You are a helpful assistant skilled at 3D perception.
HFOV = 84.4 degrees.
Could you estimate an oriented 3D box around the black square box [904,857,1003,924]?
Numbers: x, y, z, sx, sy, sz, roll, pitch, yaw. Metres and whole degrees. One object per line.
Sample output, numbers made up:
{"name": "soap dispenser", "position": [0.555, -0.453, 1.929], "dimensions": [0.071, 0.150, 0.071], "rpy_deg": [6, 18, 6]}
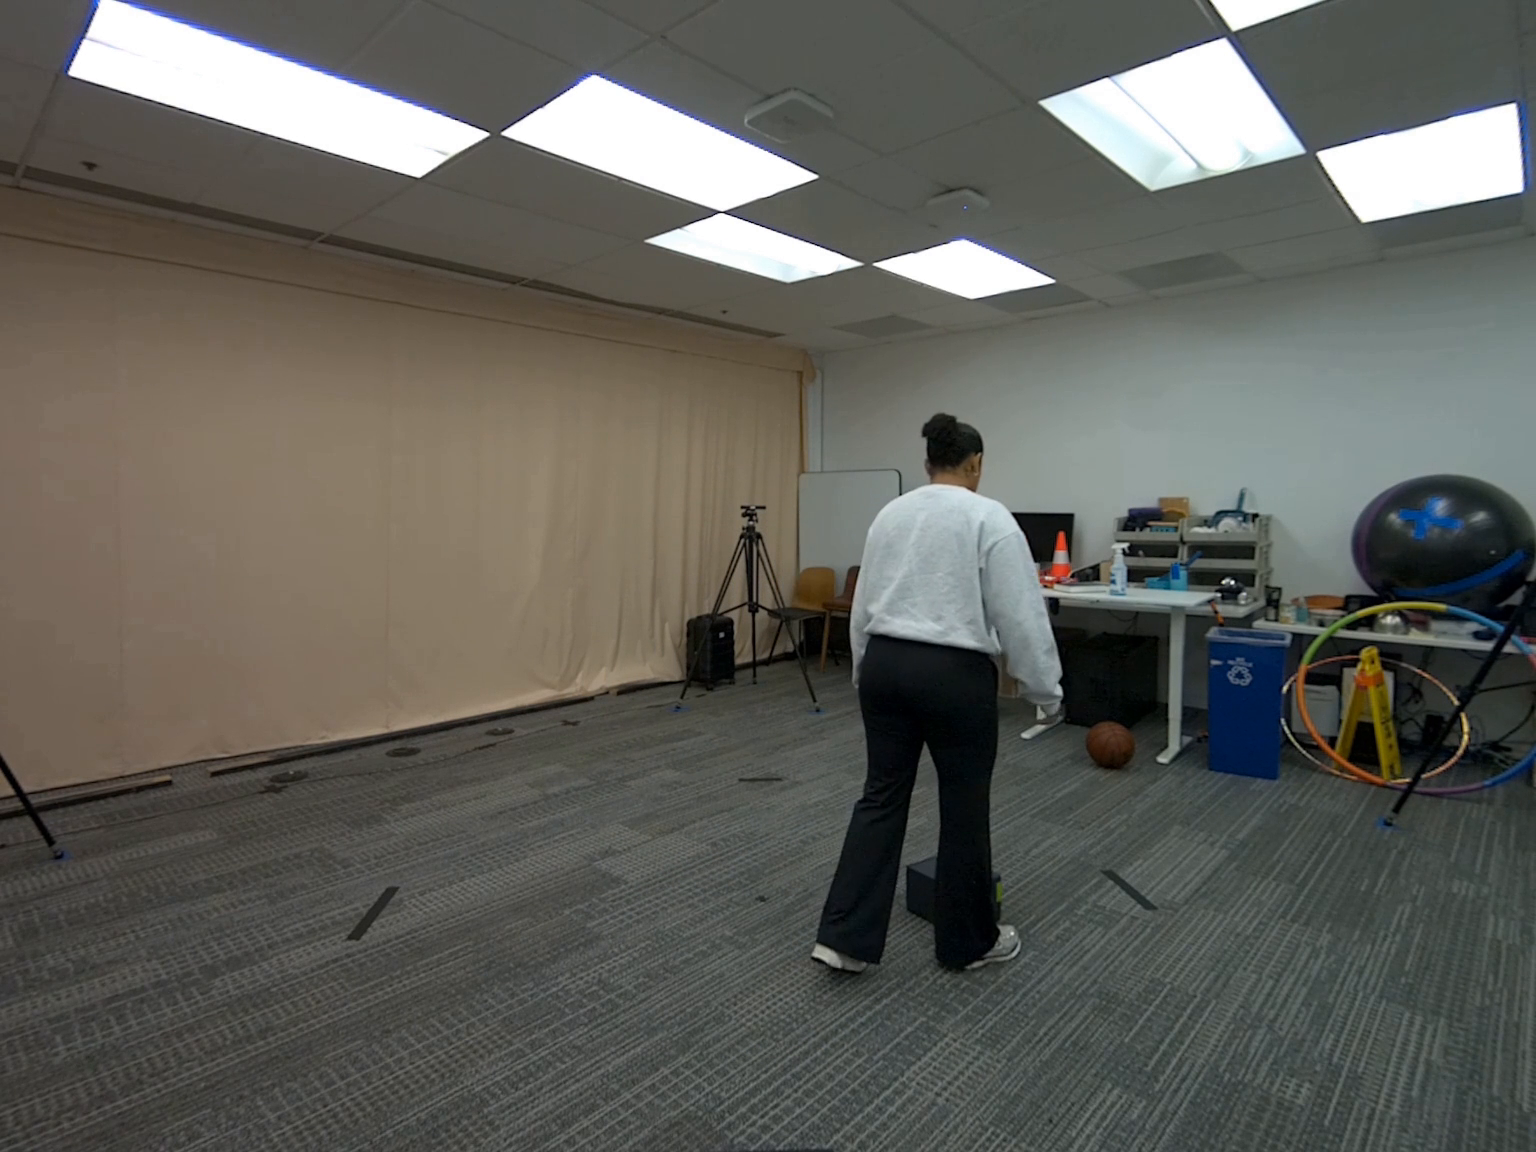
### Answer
{"name": "black square box", "position": [0.635, 1.071, 2.849], "dimensions": [0.211, 0.155, 0.235], "rpy_deg": [-3, 5, -35]}
